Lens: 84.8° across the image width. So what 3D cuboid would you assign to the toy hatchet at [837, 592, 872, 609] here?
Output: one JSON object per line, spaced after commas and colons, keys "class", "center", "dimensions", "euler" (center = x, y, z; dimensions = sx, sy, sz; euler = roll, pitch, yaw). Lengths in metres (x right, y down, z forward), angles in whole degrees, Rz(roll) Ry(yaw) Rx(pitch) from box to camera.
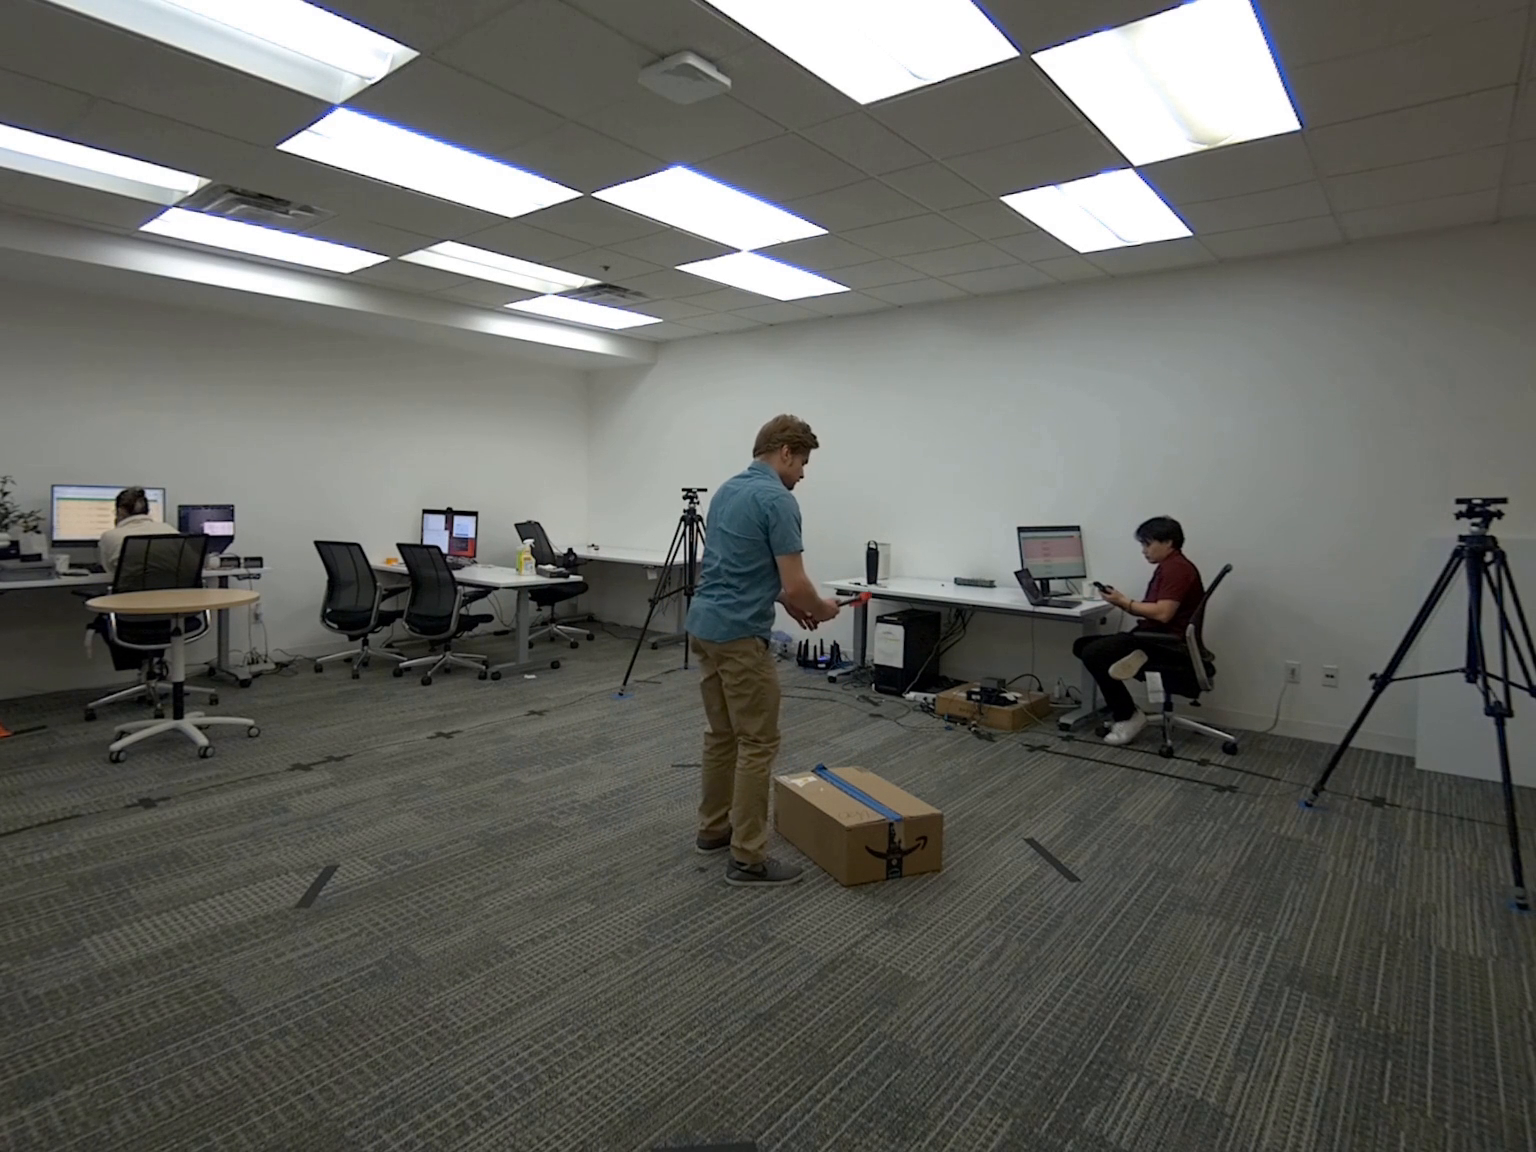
{"class": "toy hatchet", "center": [0.265, 0.126, 3.314], "dimensions": [0.271, 0.030, 0.128], "euler": [-18, -18, 4]}
